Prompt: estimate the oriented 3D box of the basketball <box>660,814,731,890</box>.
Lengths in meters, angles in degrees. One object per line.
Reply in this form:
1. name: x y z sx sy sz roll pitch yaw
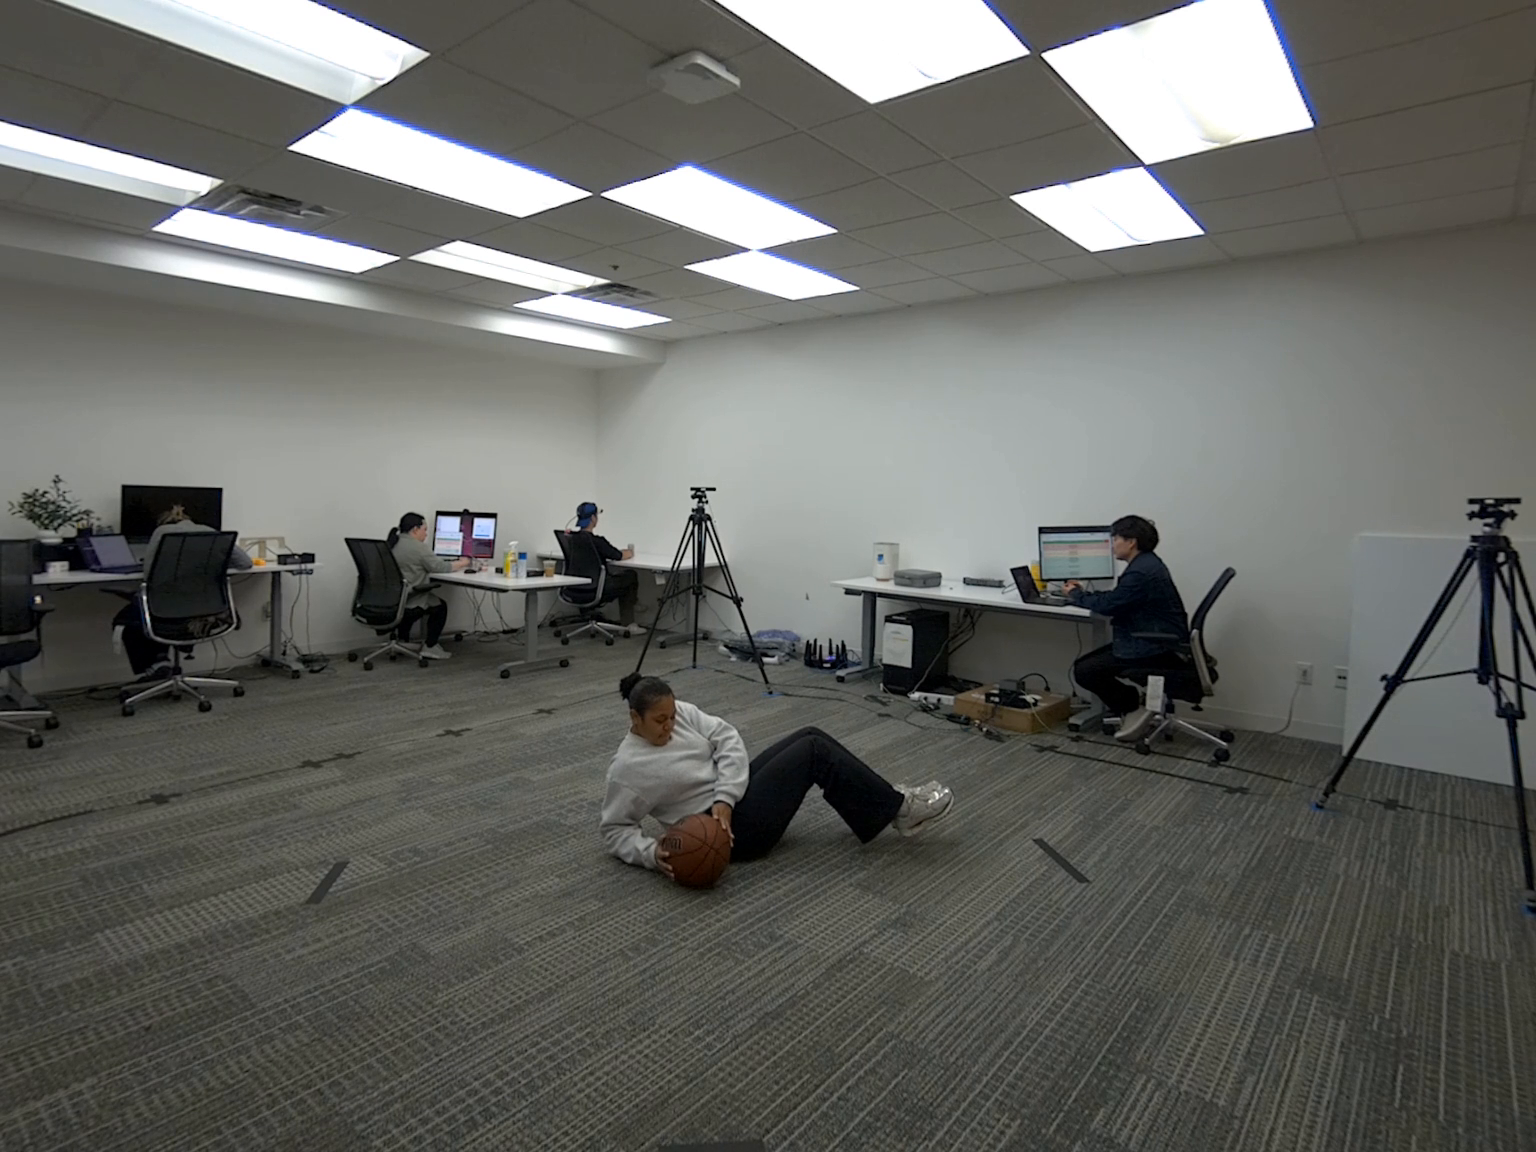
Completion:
1. basketball: -0.246 0.941 2.993 0.235 0.235 0.237 1 4 -2
